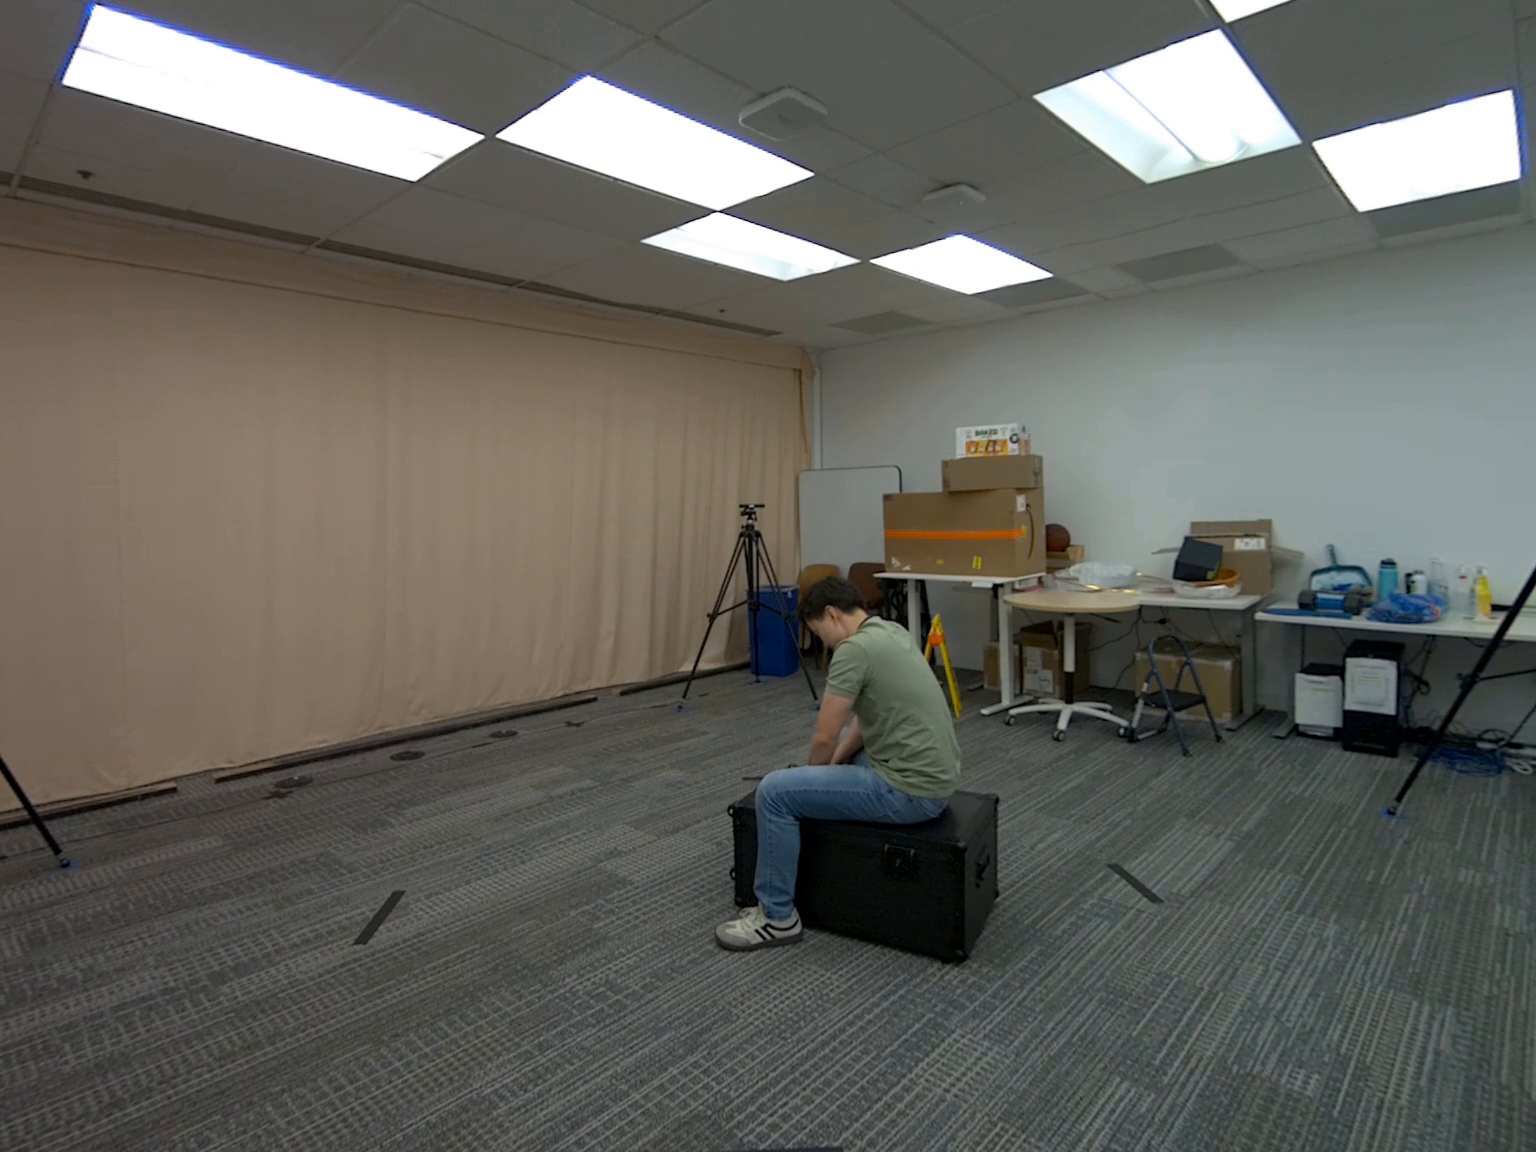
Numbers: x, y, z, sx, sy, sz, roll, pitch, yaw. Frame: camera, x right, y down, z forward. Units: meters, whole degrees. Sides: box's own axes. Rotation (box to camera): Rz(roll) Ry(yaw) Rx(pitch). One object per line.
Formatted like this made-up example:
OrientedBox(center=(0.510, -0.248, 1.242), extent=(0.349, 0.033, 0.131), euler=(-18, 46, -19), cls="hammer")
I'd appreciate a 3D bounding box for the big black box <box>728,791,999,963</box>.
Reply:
OrientedBox(center=(0.316, 0.953, 2.900), extent=(0.885, 0.395, 0.509), euler=(3, 6, 28), cls="big black box")
